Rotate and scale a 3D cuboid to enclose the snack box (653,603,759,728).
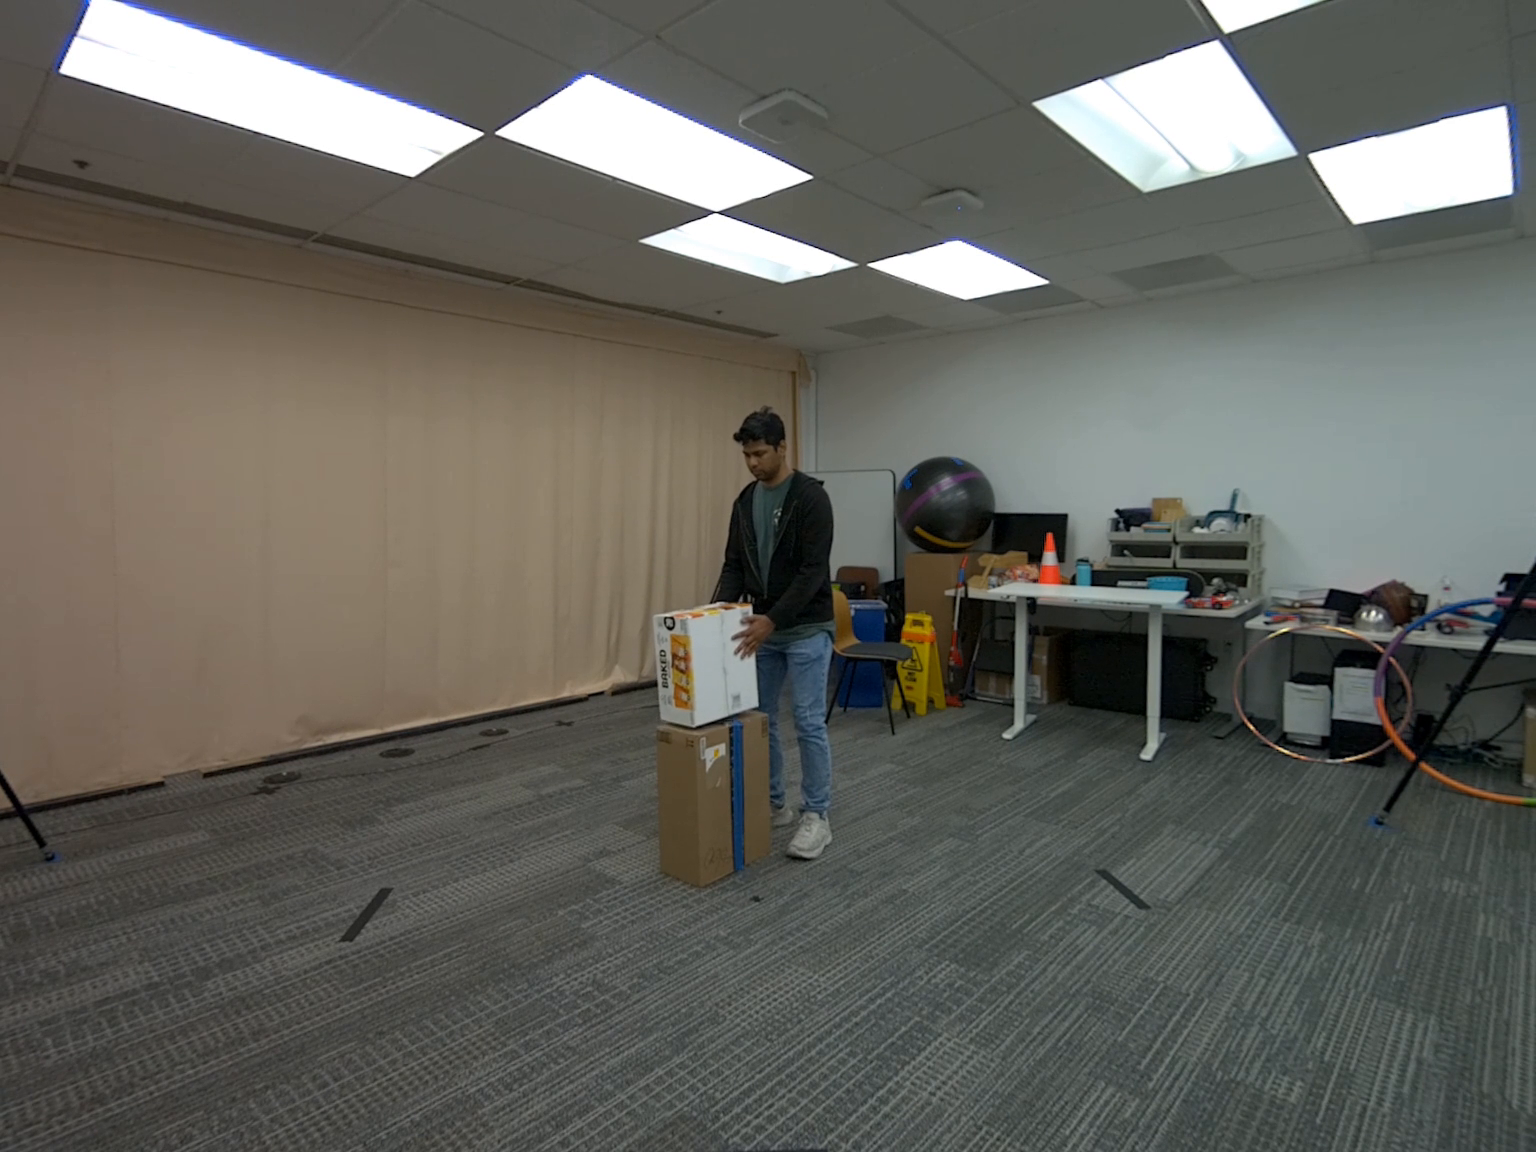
[{"bbox_3d":[-0.233,0.318,3.247,0.330,0.404,0.212,-7,4,-44],"label":"snack box"}]
